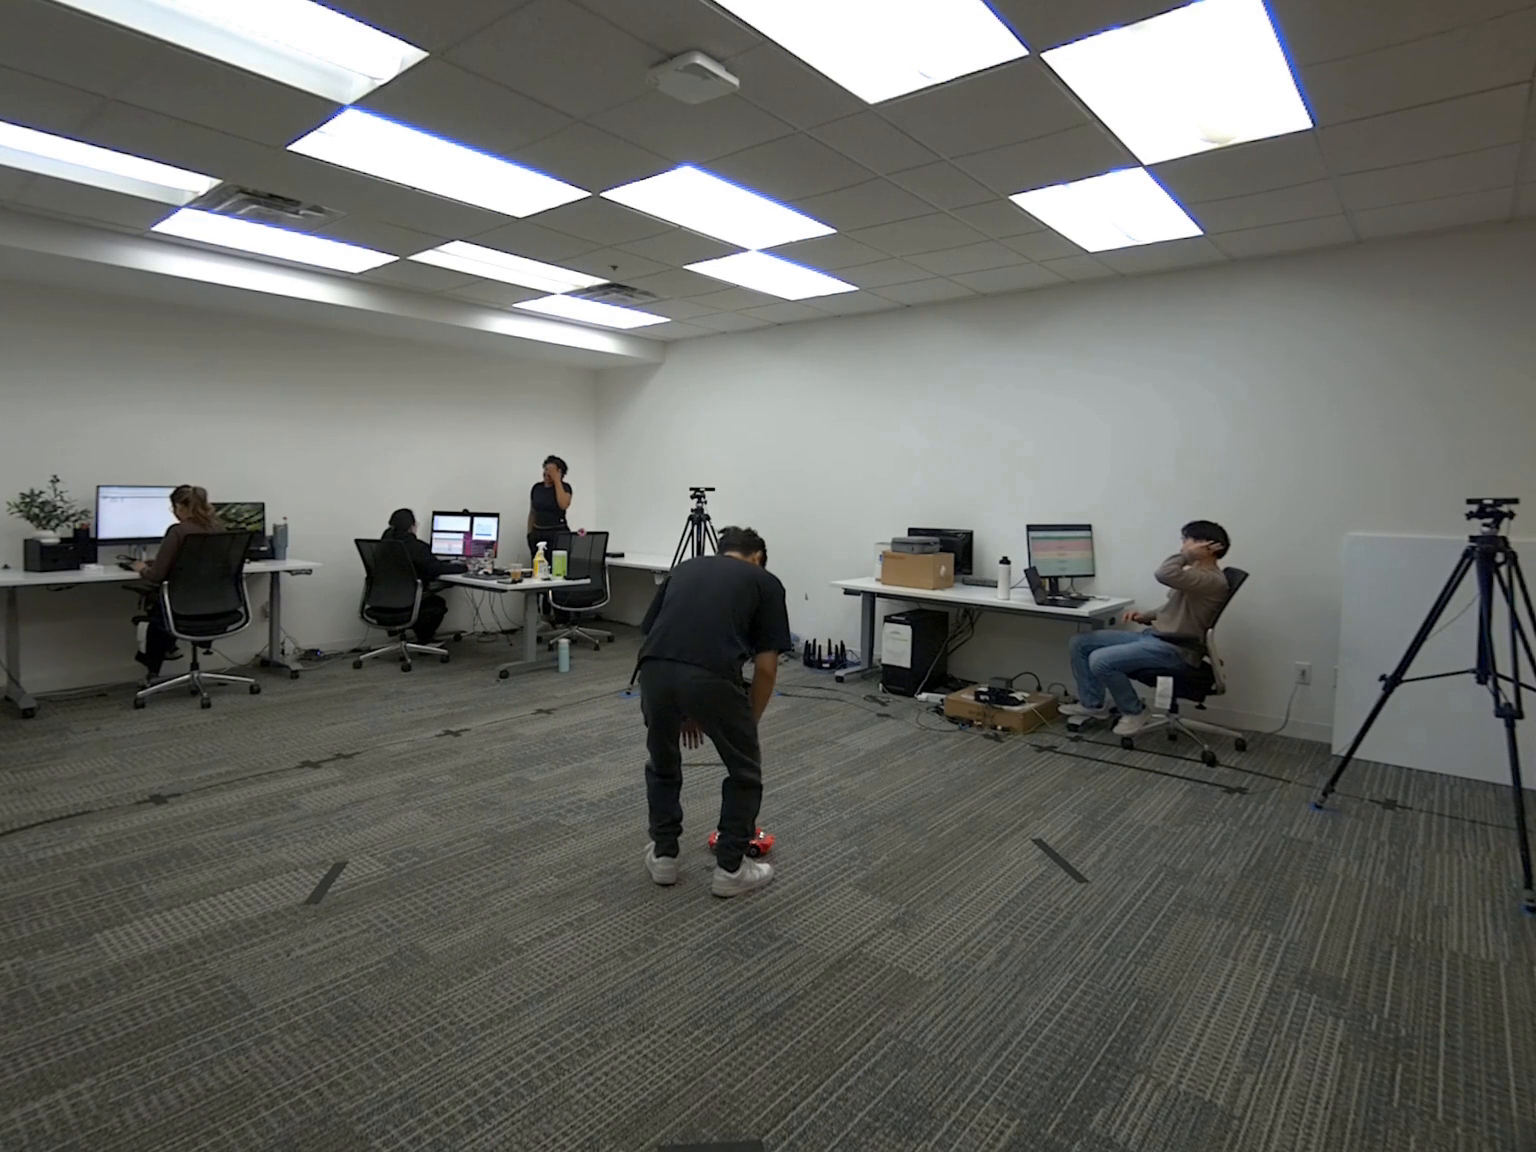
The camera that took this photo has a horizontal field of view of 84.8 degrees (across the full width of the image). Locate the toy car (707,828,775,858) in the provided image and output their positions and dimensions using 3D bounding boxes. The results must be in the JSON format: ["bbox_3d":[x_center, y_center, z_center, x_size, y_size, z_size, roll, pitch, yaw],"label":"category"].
[{"bbox_3d":[-0.109,1.024,3.275,0.257,0.083,0.129,-9,3,9],"label":"toy car"}]
